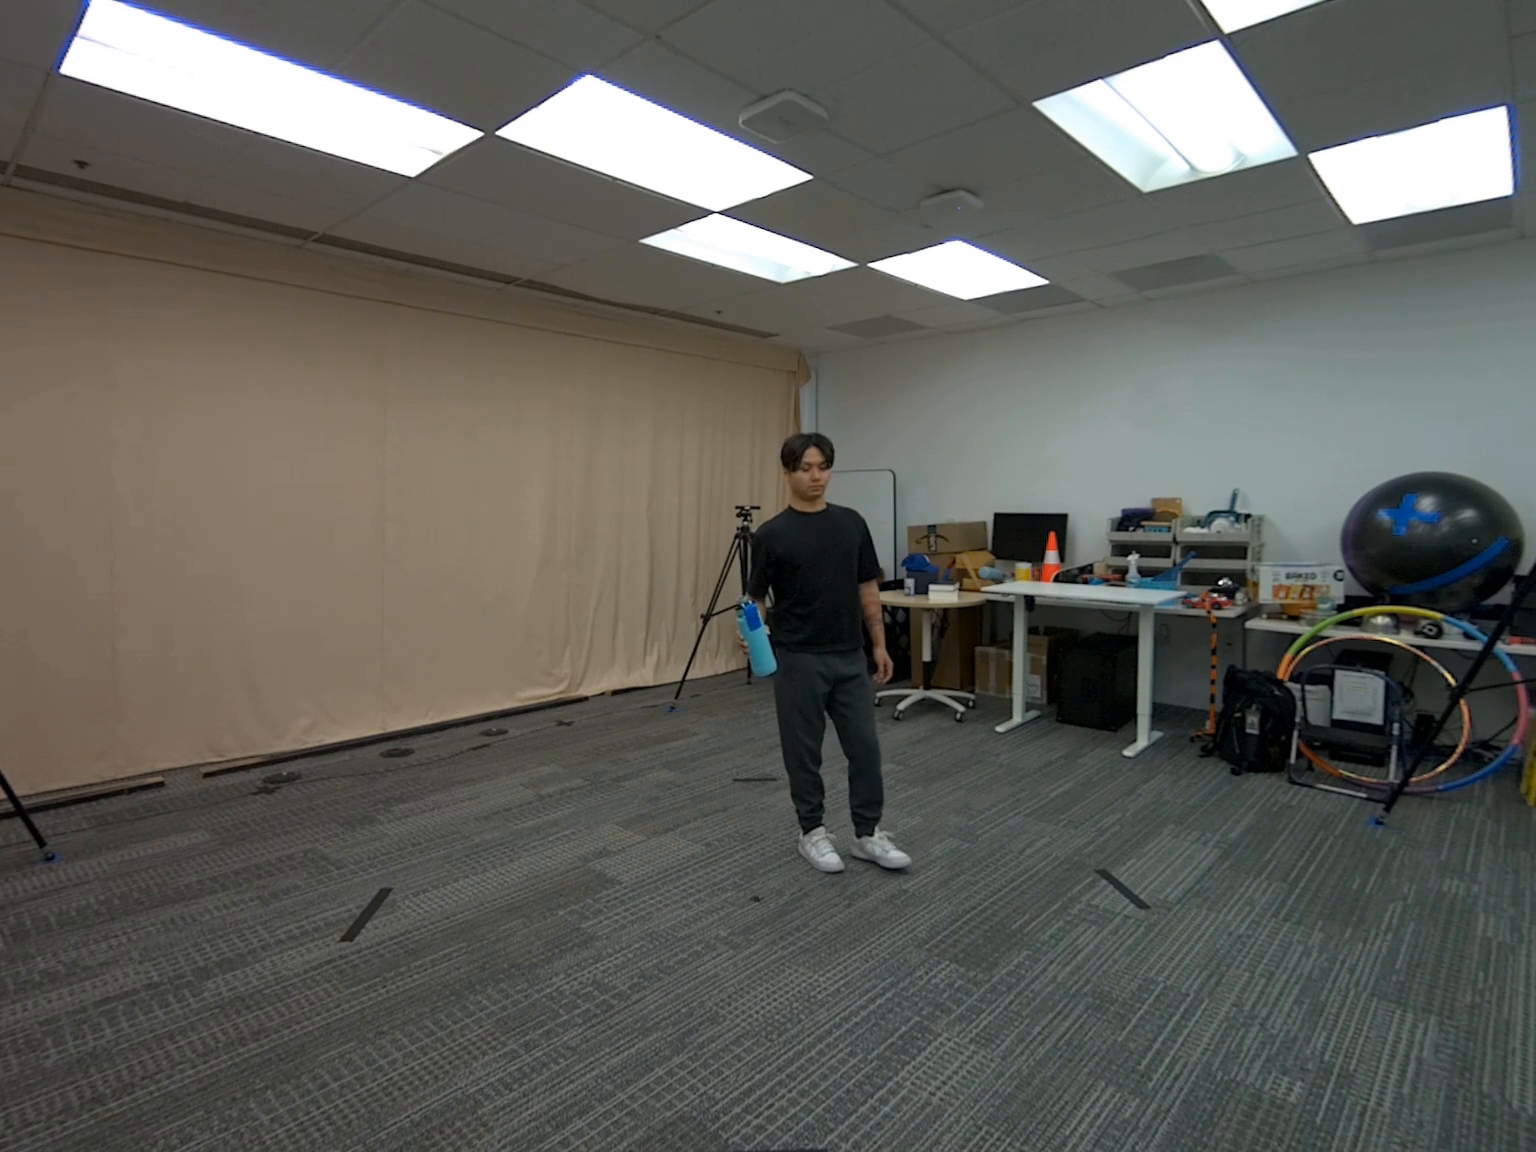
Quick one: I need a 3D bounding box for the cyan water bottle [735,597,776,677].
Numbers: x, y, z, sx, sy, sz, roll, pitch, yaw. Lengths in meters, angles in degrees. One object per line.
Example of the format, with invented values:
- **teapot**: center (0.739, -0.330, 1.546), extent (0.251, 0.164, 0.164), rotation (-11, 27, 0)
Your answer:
- **cyan water bottle**: center (-0.037, 0.213, 3.000), extent (0.092, 0.280, 0.093), rotation (-15, 12, 2)
